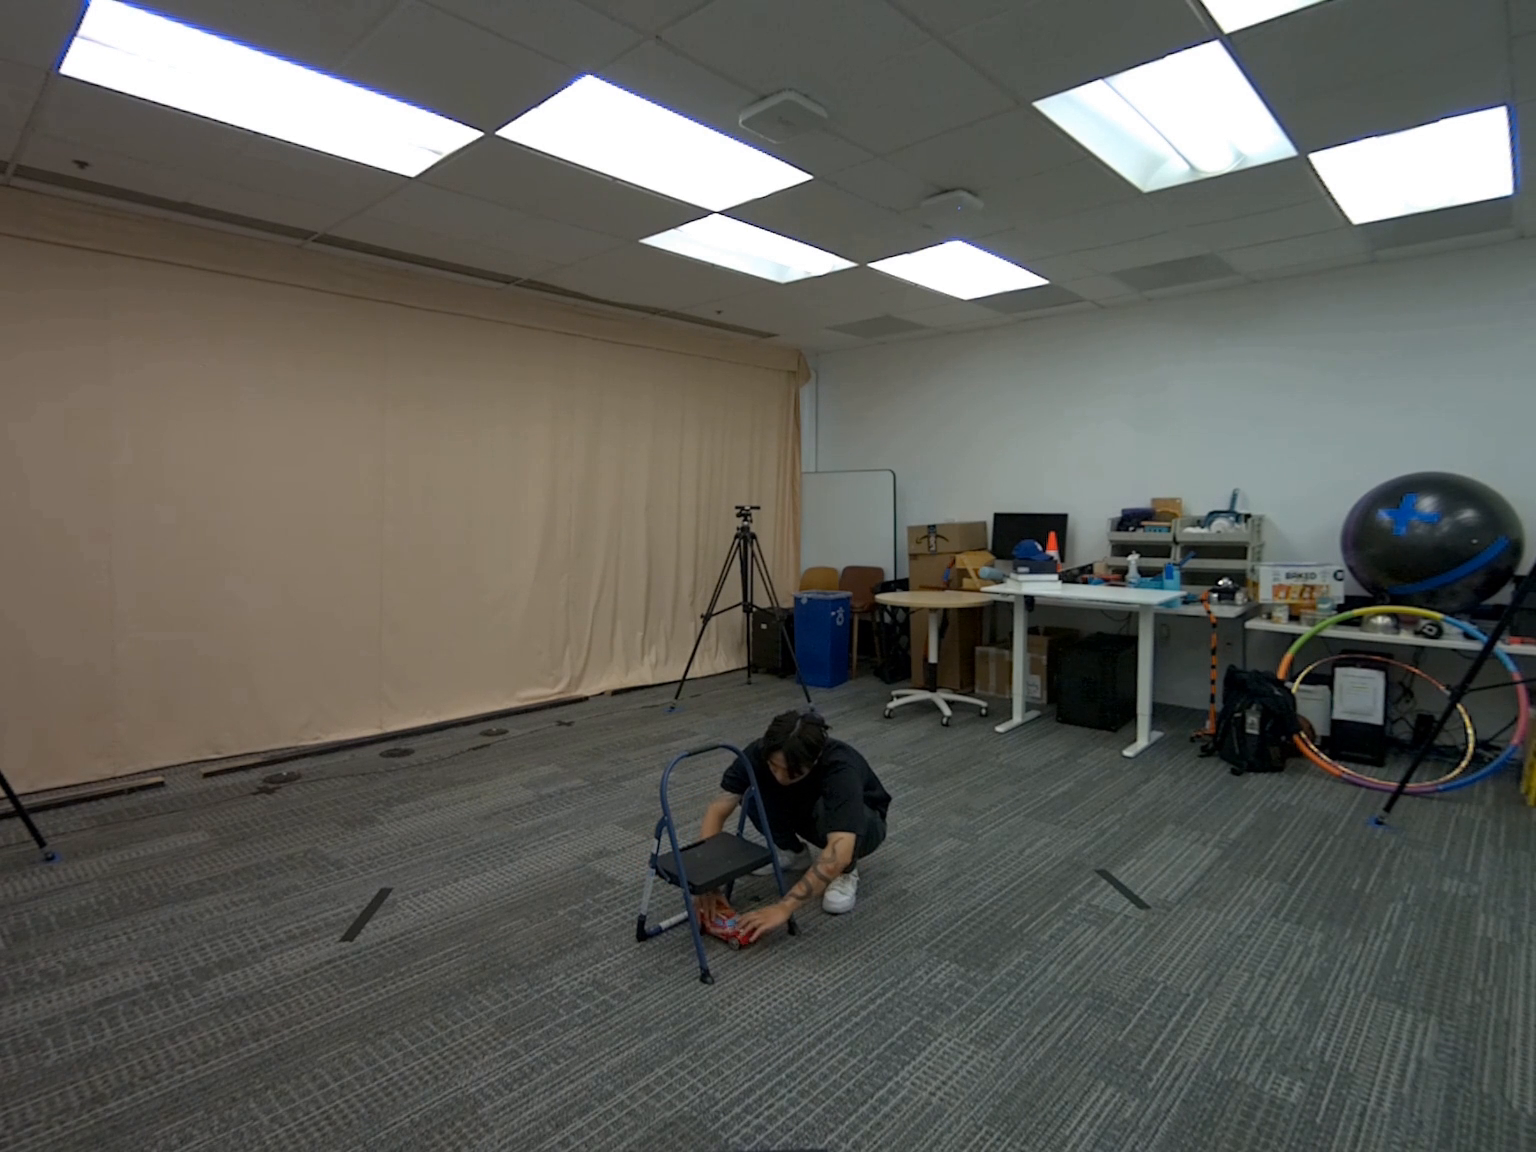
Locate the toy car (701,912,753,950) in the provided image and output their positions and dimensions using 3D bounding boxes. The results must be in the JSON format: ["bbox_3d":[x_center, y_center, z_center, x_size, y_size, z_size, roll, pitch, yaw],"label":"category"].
[{"bbox_3d":[-0.150,1.134,2.738,0.263,0.083,0.127,17,15,33],"label":"toy car"}]
